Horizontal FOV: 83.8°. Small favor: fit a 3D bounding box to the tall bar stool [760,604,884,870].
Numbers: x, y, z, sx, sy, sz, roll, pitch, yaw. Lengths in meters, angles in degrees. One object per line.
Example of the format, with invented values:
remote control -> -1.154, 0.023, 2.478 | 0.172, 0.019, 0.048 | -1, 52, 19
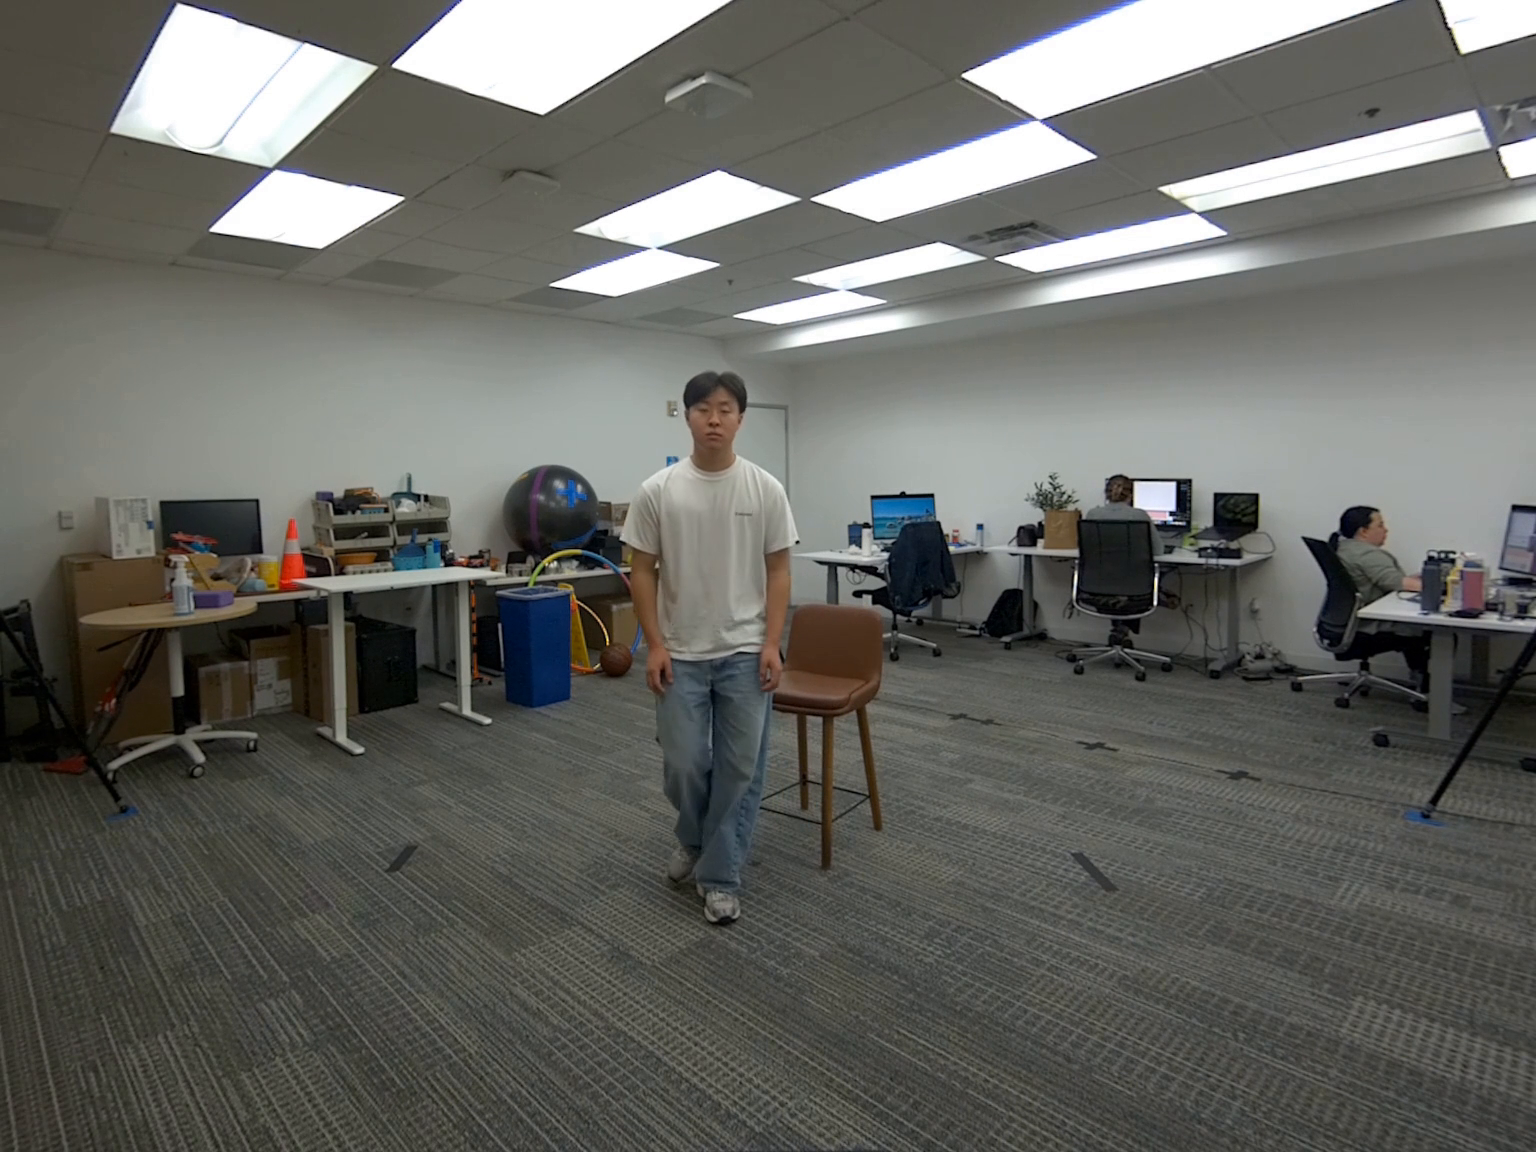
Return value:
tall bar stool -> 0.179, 0.580, 3.316 | 0.470, 0.888, 0.455 | 2, 3, 37
